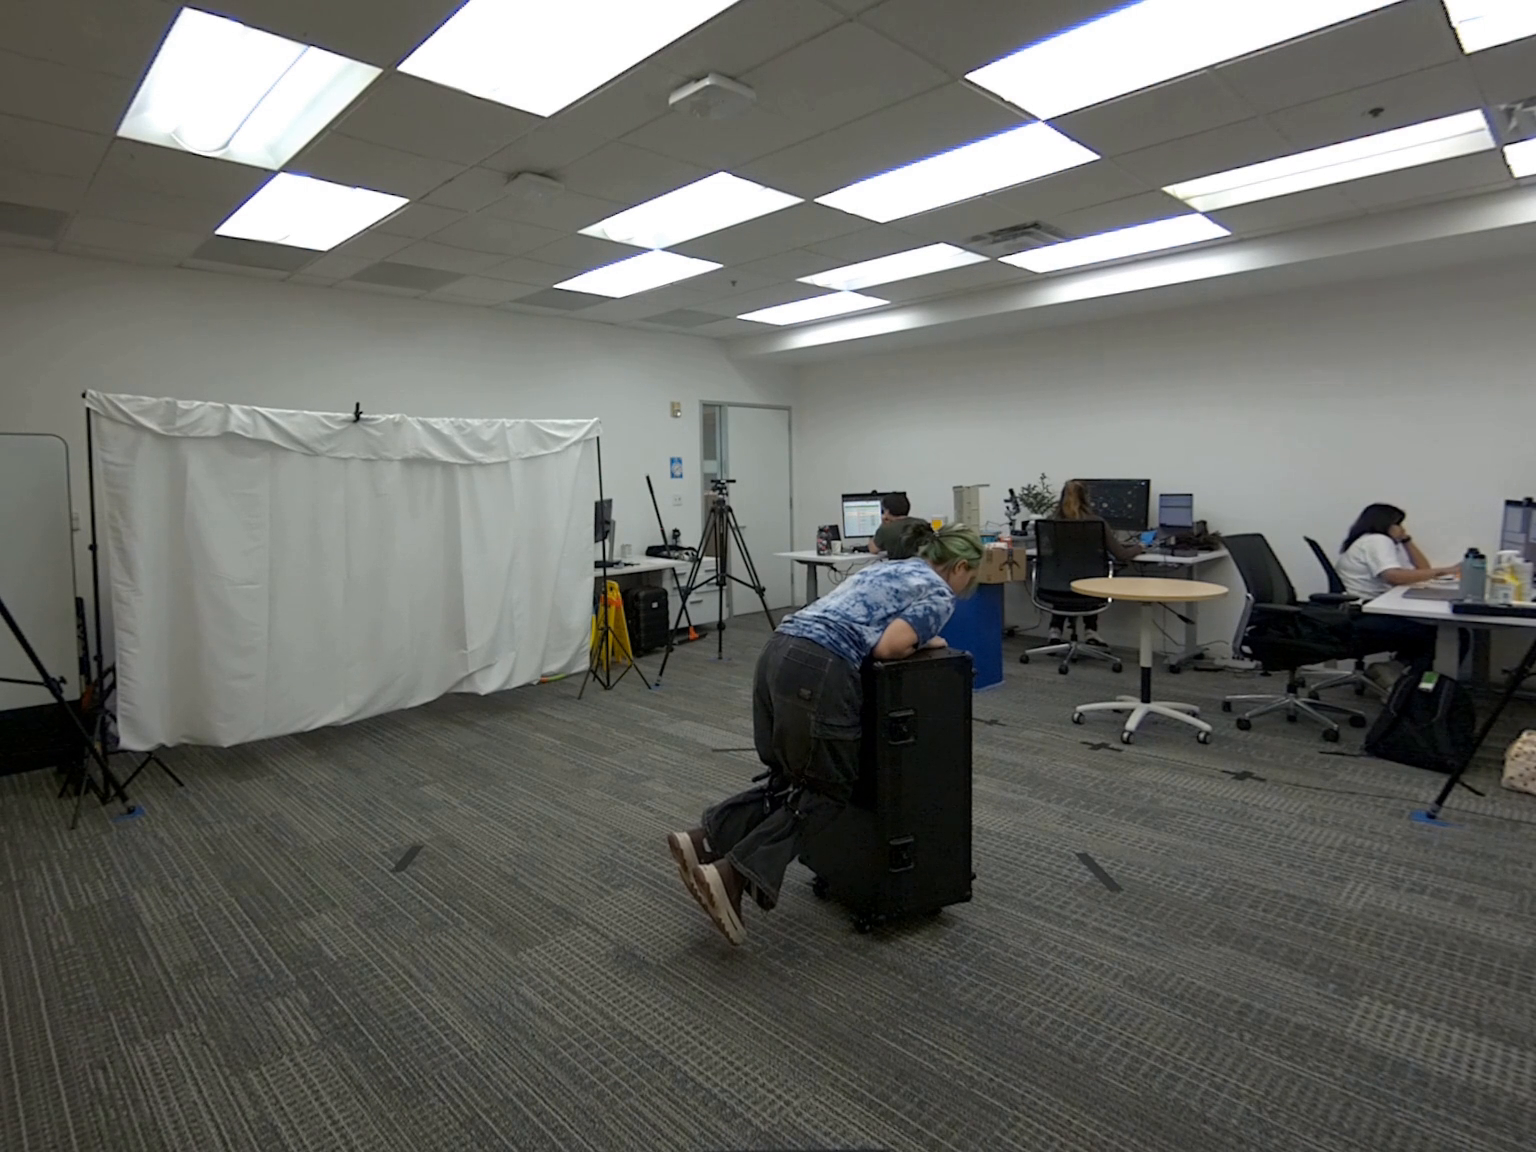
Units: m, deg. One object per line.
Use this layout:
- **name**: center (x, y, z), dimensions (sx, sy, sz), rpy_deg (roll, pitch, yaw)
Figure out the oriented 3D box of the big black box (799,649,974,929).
- **big black box**: center (0.386, 0.598, 2.797), dimensions (0.388, 0.858, 0.534), rpy_deg (-2, 4, -26)
